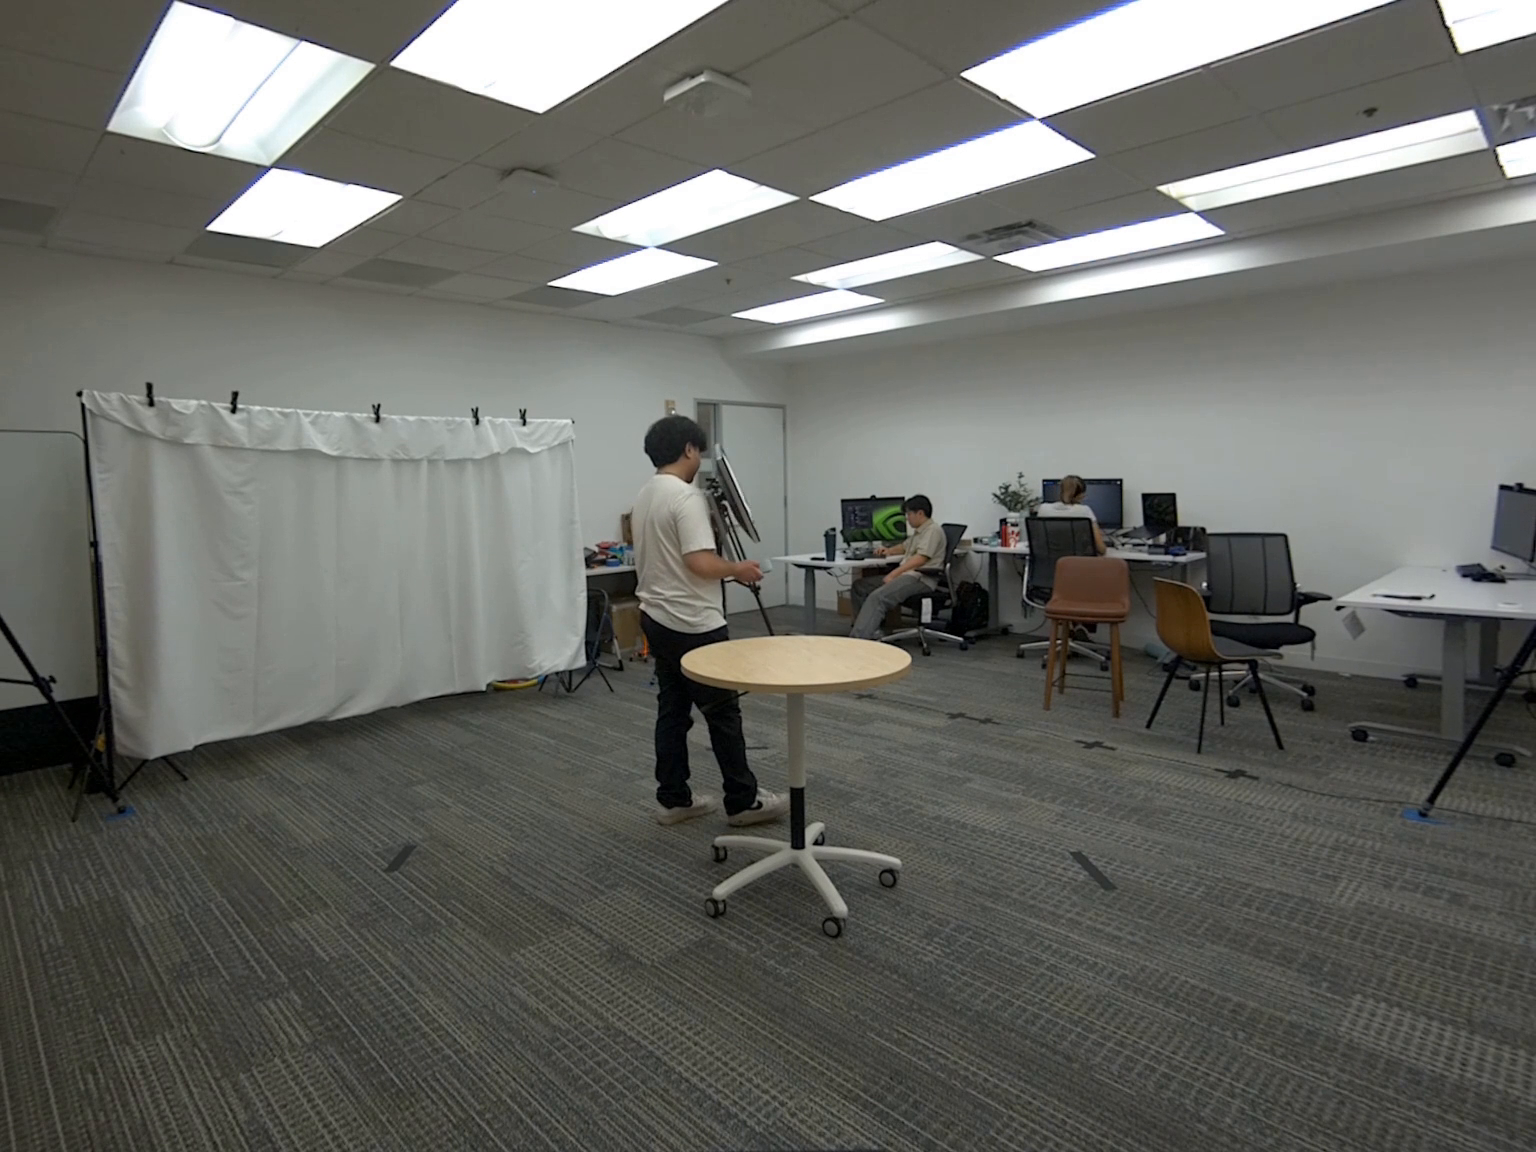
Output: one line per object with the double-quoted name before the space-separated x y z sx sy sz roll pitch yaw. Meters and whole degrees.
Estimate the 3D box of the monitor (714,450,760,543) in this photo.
"monitor" -0.169 -0.257 3.562 0.210 0.547 0.573 -18 12 0
